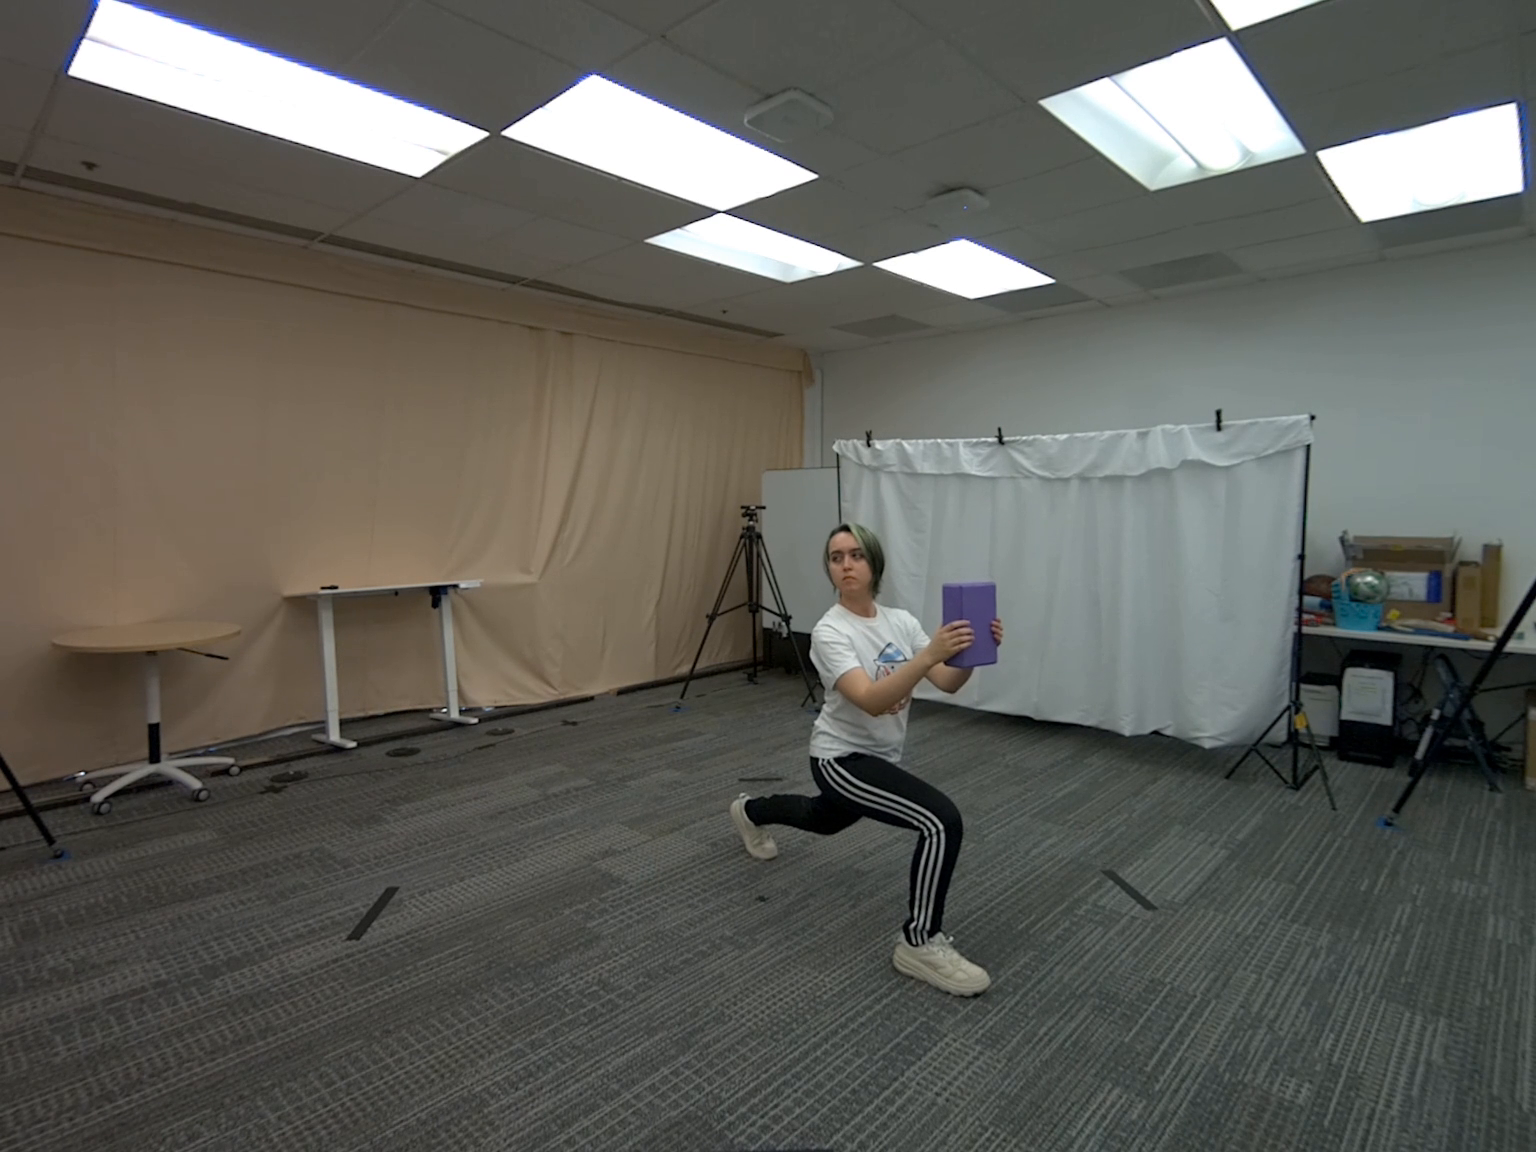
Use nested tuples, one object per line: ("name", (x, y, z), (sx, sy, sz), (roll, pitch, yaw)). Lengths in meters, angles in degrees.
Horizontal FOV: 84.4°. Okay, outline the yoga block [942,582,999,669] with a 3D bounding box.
("yoga block", (0.571, 0.134, 2.341), (0.145, 0.229, 0.079), (-3, 3, -33))
